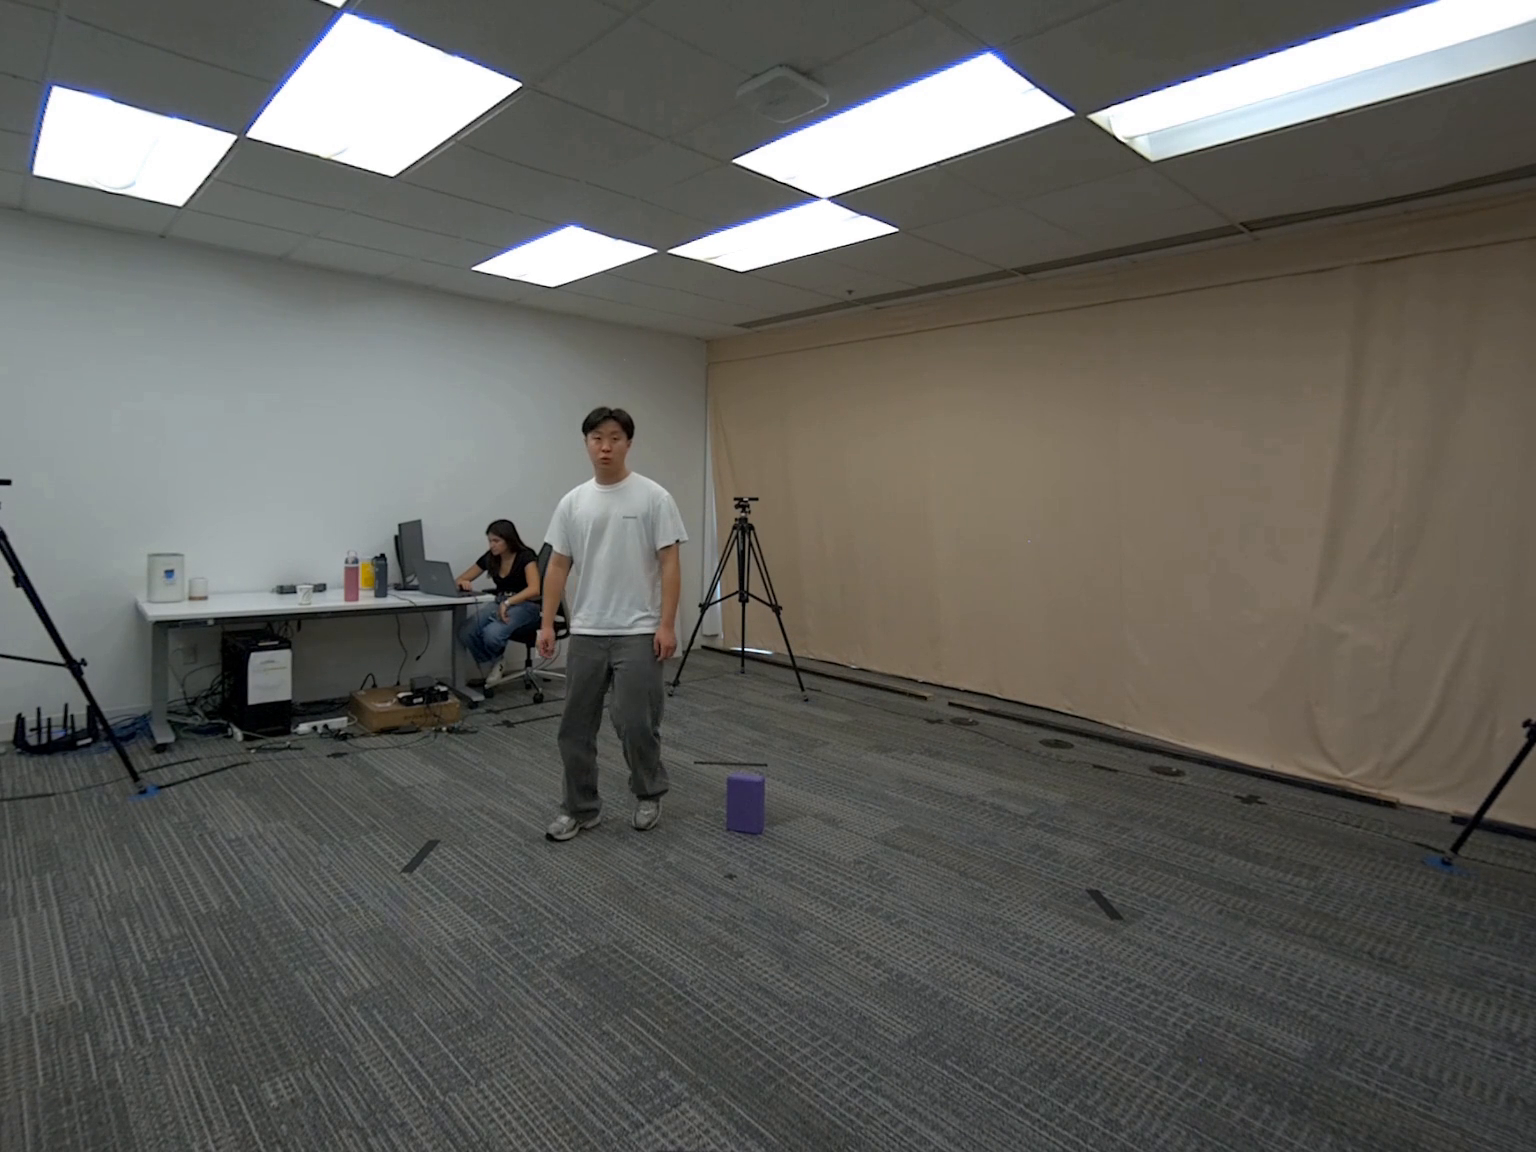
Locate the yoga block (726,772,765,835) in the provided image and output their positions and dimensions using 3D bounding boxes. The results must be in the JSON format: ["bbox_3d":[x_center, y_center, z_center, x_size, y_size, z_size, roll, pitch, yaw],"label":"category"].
[{"bbox_3d":[-0.109,0.962,3.540,0.151,0.229,0.075,3,2,16],"label":"yoga block"}]
